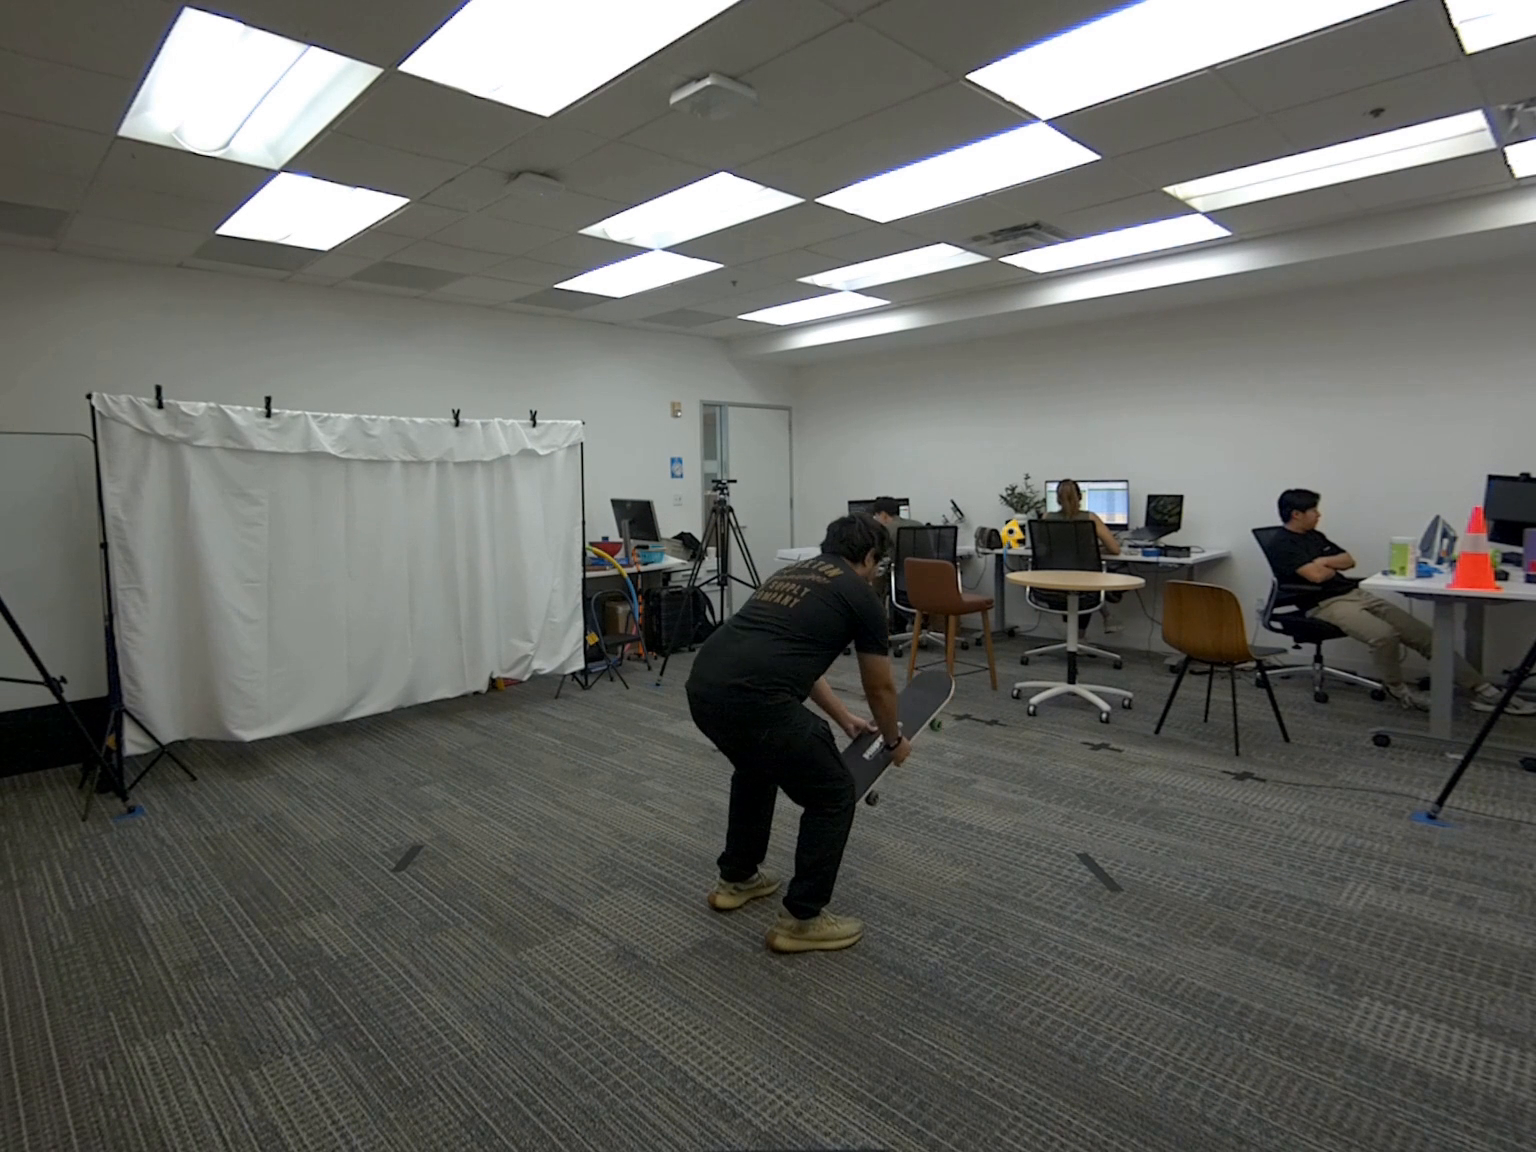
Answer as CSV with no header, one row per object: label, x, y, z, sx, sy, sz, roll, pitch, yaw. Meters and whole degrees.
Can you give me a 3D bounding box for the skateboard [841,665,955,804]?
skateboard,0.416,0.599,2.988,0.200,0.107,0.781,10,40,45
